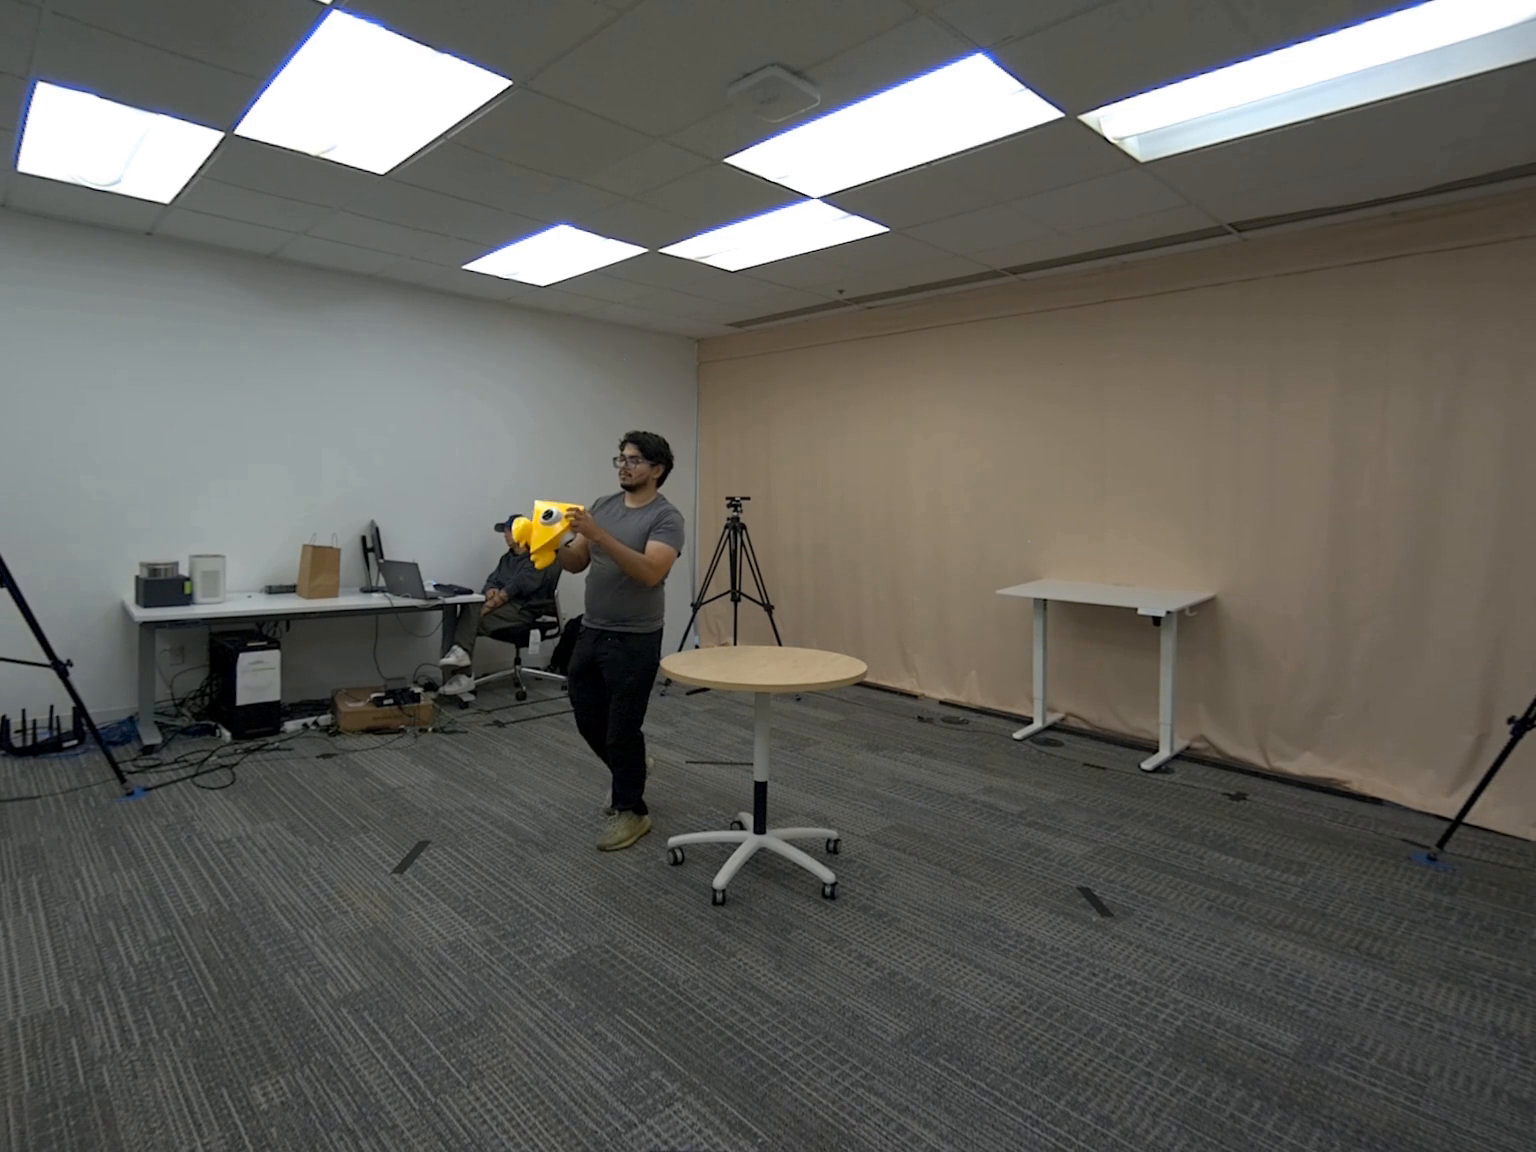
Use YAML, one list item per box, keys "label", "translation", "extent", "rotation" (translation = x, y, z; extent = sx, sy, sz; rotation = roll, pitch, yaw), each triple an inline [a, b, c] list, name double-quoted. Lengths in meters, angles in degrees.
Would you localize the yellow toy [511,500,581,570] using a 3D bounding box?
- label: "yellow toy"
  translation: [-0.784, -0.172, 3.058]
  extent: [0.232, 0.200, 0.197]
  rotation: [-27, 26, 12]
